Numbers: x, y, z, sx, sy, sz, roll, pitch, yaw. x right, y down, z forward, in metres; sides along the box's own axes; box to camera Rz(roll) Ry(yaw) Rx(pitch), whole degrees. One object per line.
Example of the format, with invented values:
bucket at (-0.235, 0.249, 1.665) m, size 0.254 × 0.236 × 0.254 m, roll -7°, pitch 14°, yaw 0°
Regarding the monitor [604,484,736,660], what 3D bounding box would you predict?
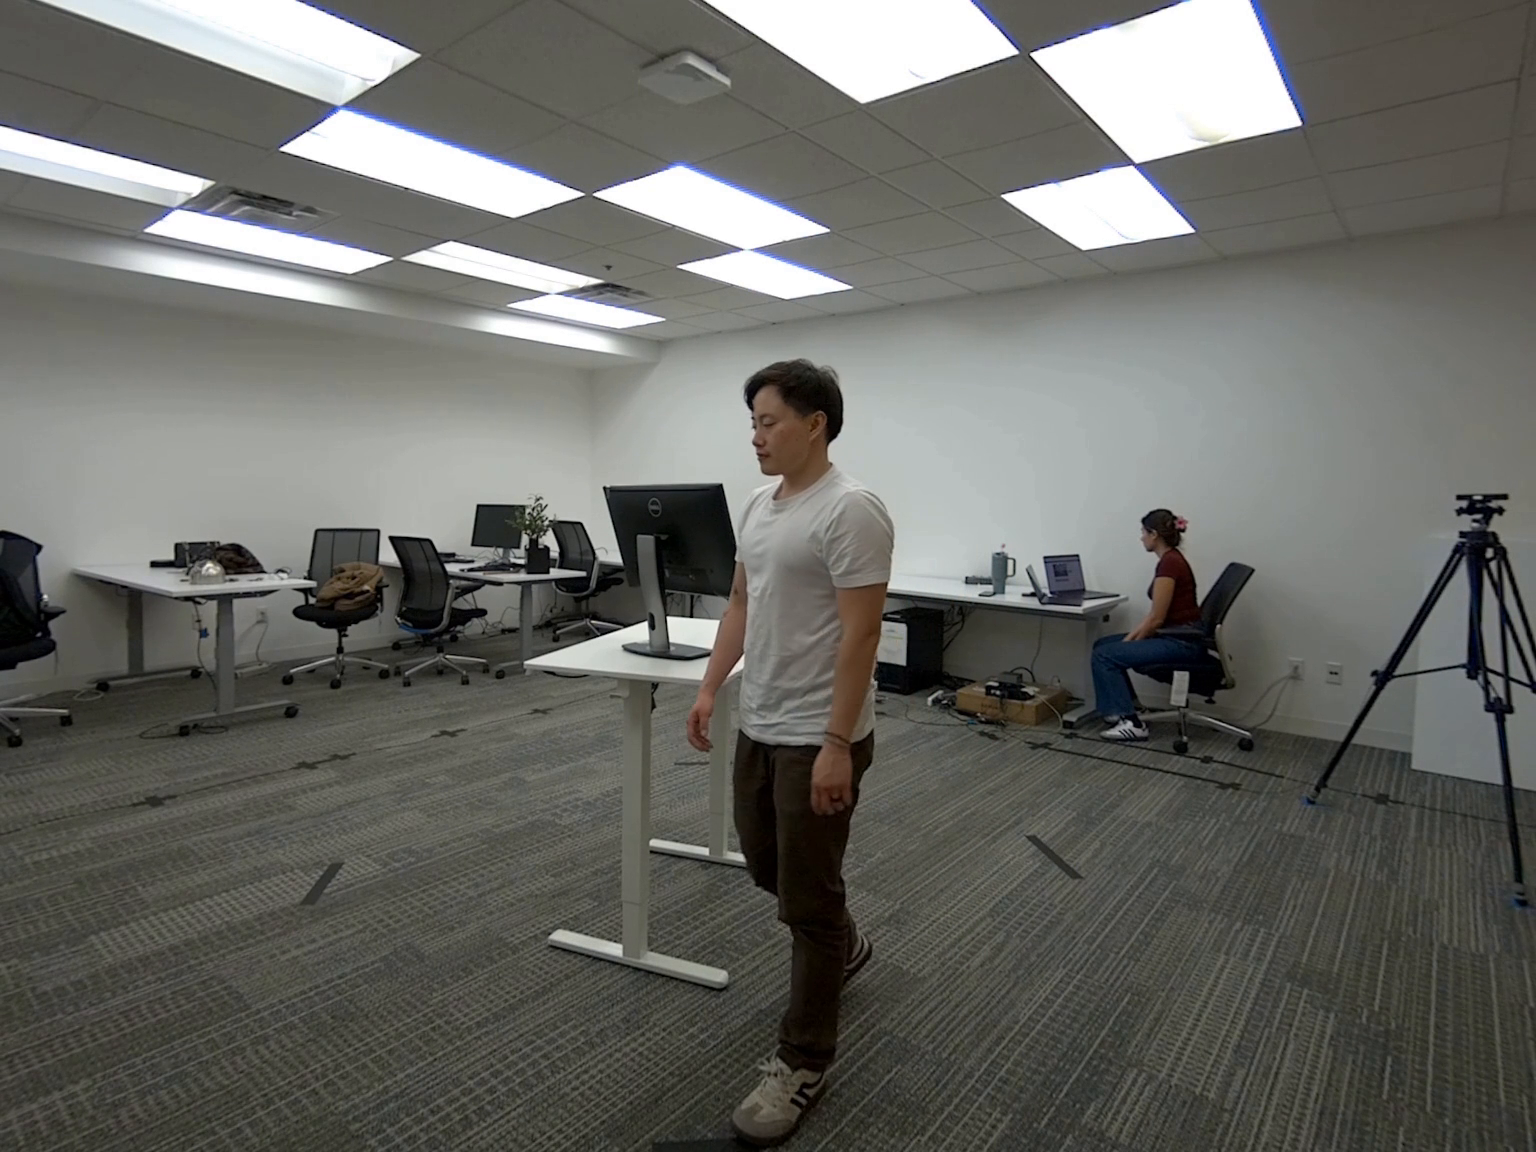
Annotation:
monitor at (-0.324, -0.021, 2.593) m, size 0.557 × 0.519 × 0.182 m, roll 3°, pitch 8°, yaw 41°
